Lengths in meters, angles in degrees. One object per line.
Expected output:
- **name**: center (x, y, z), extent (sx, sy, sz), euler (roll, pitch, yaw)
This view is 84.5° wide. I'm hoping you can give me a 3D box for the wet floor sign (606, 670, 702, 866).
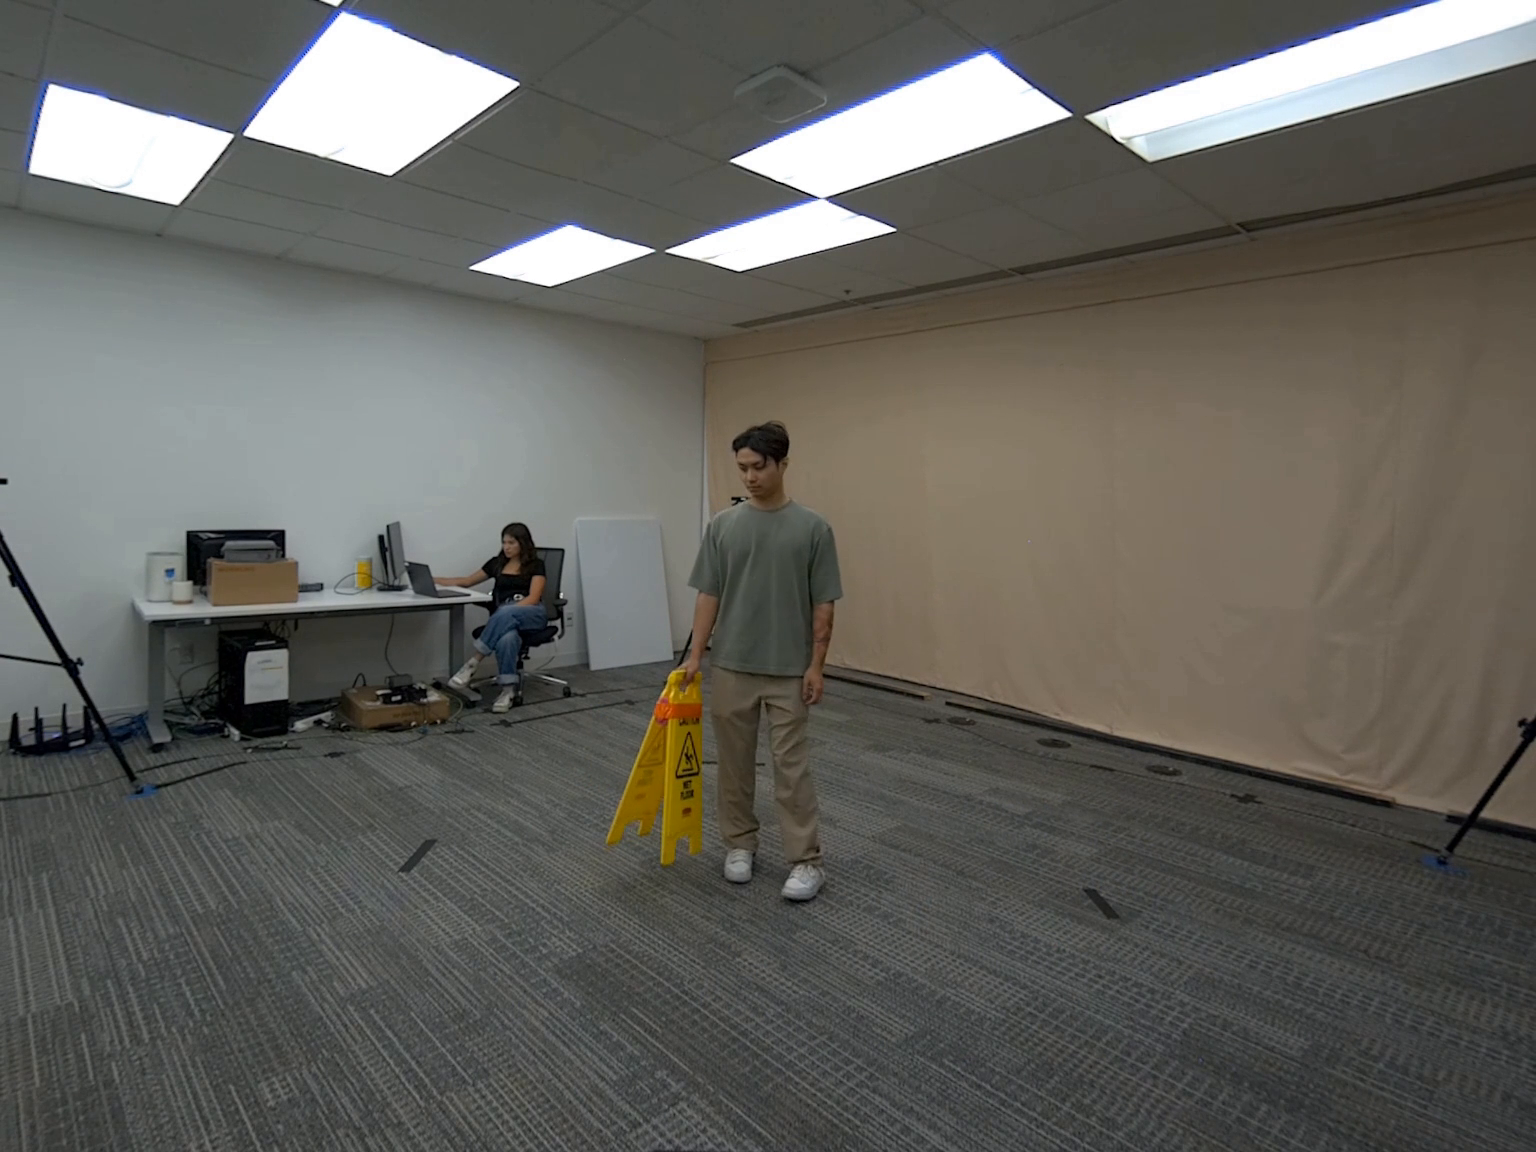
- **wet floor sign**: center (-0.351, 0.669, 3.079), extent (0.296, 0.647, 0.276), euler (8, -3, 26)
